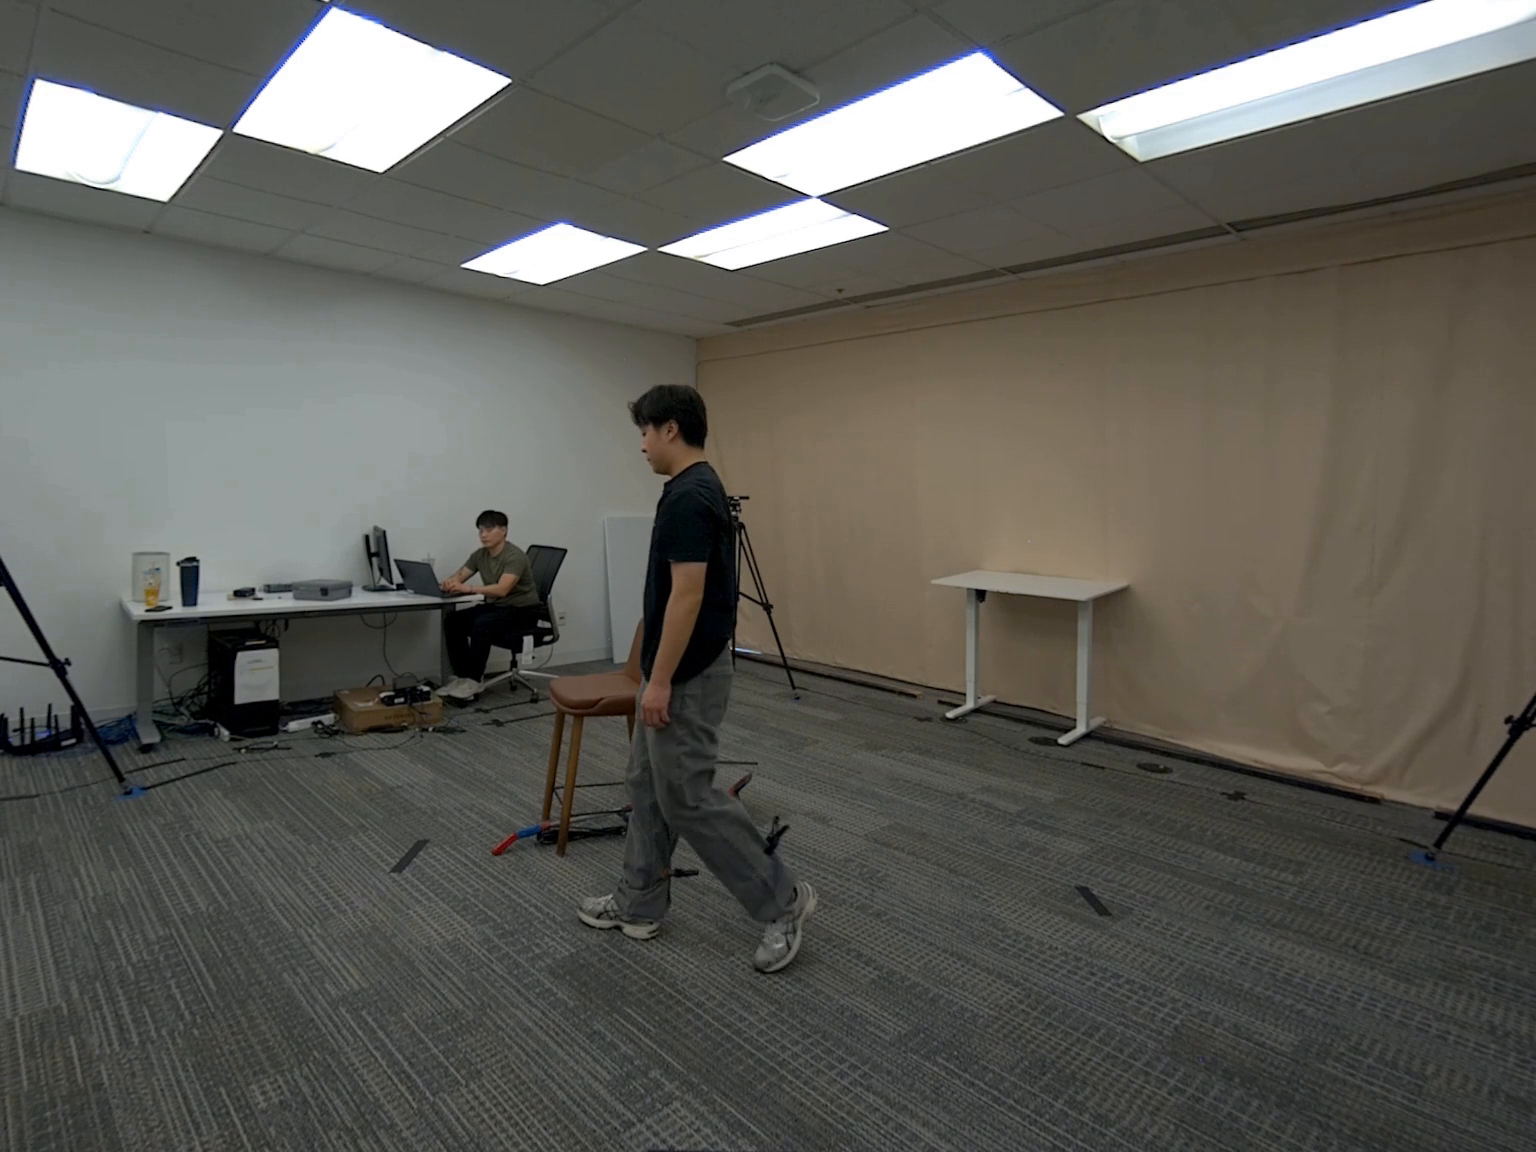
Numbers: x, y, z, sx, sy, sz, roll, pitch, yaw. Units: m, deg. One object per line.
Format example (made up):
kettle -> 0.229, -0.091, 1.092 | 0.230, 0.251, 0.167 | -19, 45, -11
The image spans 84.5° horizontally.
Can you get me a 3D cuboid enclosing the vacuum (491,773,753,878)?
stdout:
vacuum -> -0.594, 1.016, 3.482 | 1.032, 0.147, 0.251 | -7, -27, -27
